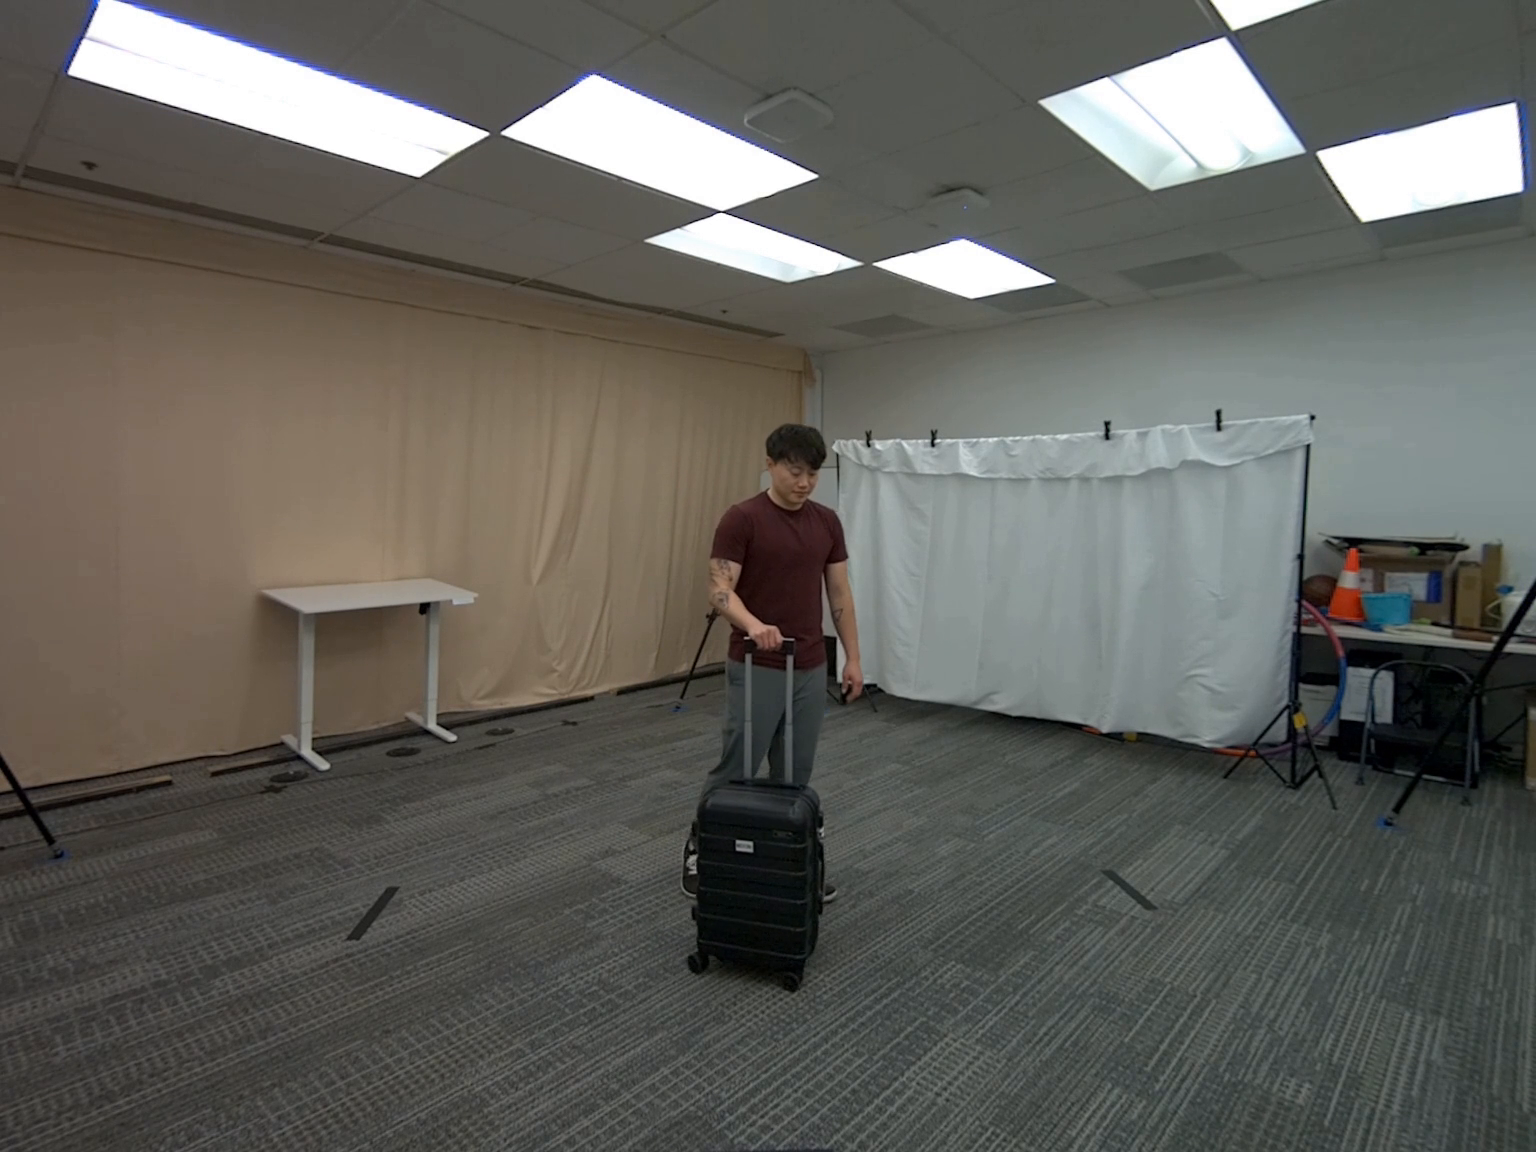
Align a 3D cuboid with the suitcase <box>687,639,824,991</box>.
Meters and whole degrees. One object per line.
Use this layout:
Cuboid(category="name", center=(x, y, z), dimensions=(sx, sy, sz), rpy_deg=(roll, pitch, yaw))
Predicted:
Cuboid(category="suitcase", center=(-0.020, 0.698, 2.539), dimensions=(0.390, 0.975, 0.254), rpy_deg=(2, 5, 14))
